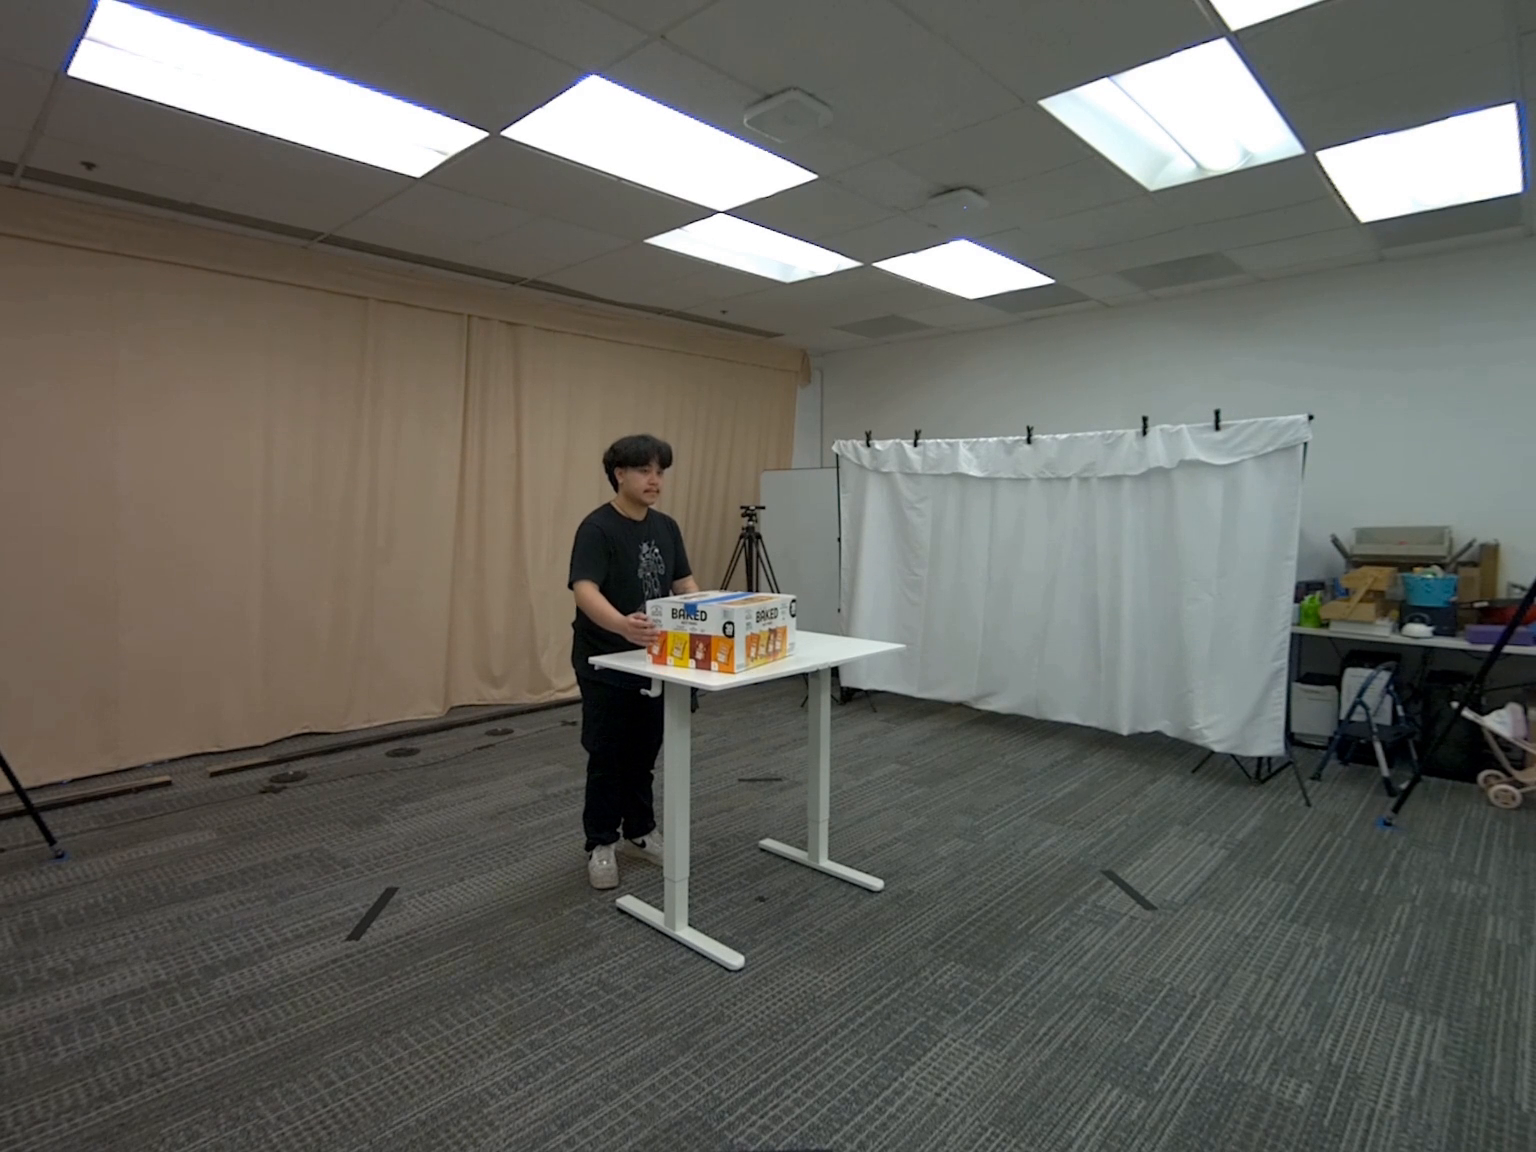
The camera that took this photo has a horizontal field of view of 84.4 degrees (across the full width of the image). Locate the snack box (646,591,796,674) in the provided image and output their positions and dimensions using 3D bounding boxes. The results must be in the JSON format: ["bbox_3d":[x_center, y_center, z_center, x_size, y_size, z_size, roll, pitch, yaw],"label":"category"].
[{"bbox_3d":[-0.145,0.173,2.797,0.350,0.205,0.394,3,5,30],"label":"snack box"}]
